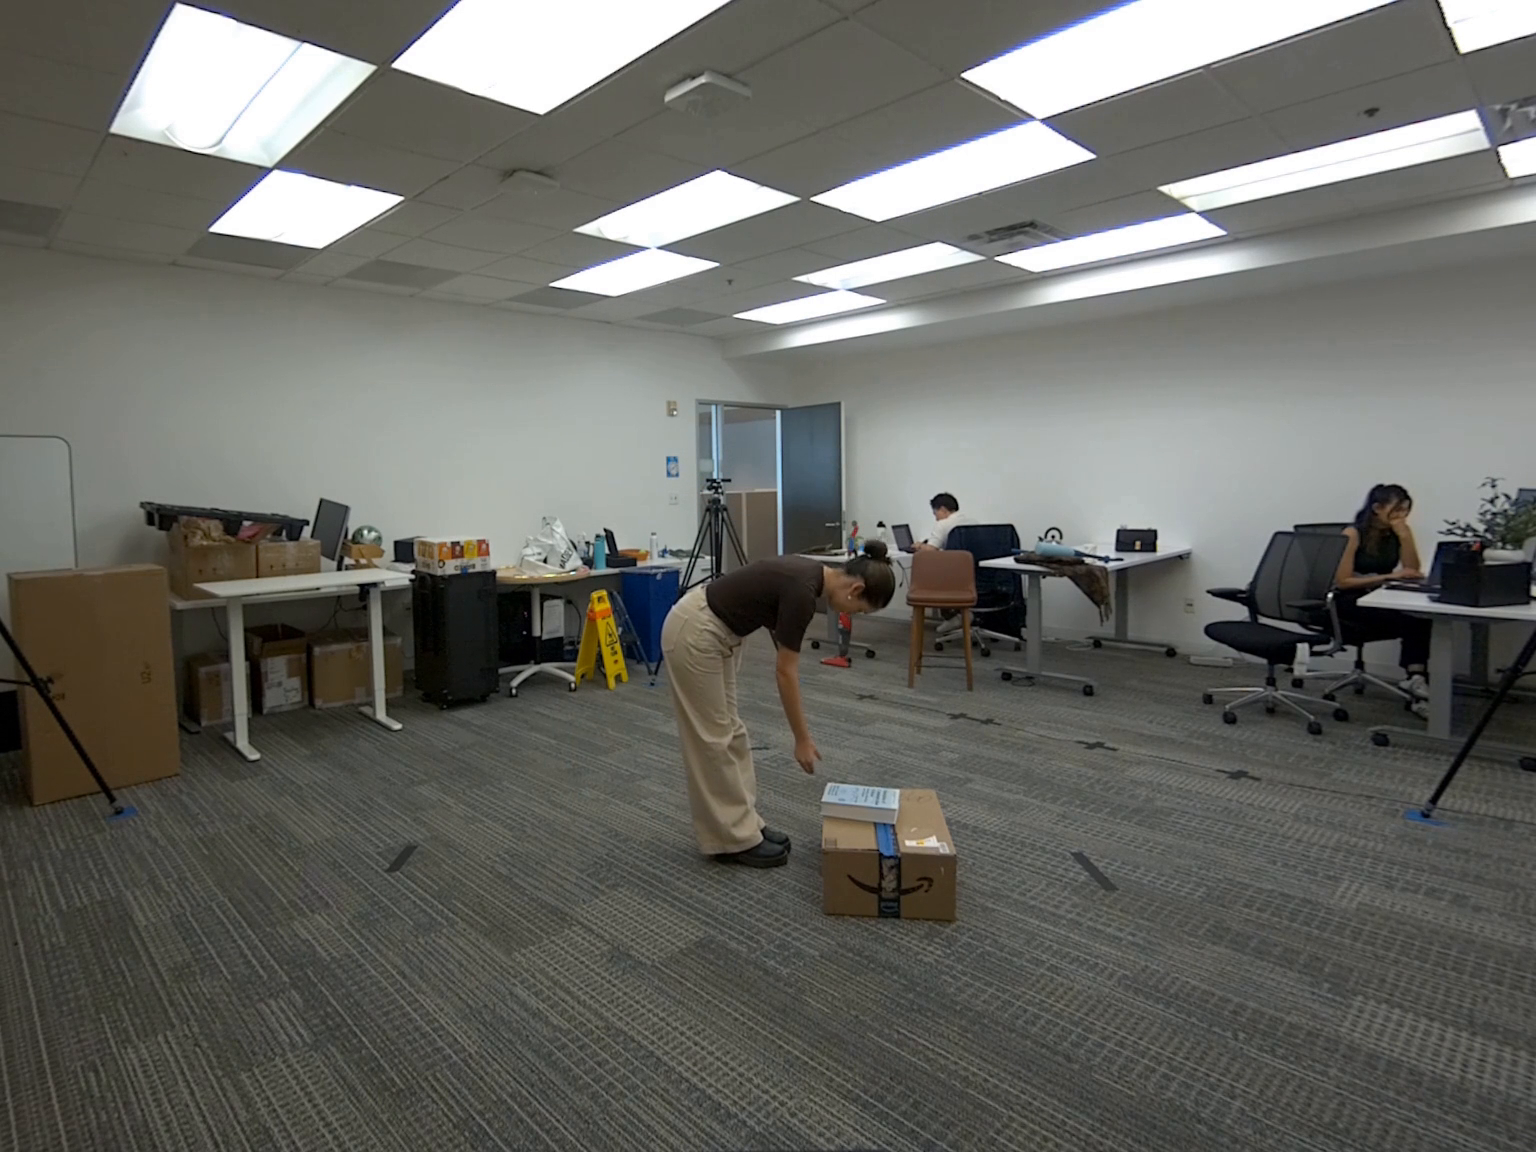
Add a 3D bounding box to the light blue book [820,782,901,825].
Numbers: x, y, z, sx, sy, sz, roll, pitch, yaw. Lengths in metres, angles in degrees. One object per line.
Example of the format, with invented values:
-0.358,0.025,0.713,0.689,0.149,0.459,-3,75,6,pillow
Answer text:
0.333,0.799,3.036,0.265,0.059,0.190,1,8,14,light blue book
